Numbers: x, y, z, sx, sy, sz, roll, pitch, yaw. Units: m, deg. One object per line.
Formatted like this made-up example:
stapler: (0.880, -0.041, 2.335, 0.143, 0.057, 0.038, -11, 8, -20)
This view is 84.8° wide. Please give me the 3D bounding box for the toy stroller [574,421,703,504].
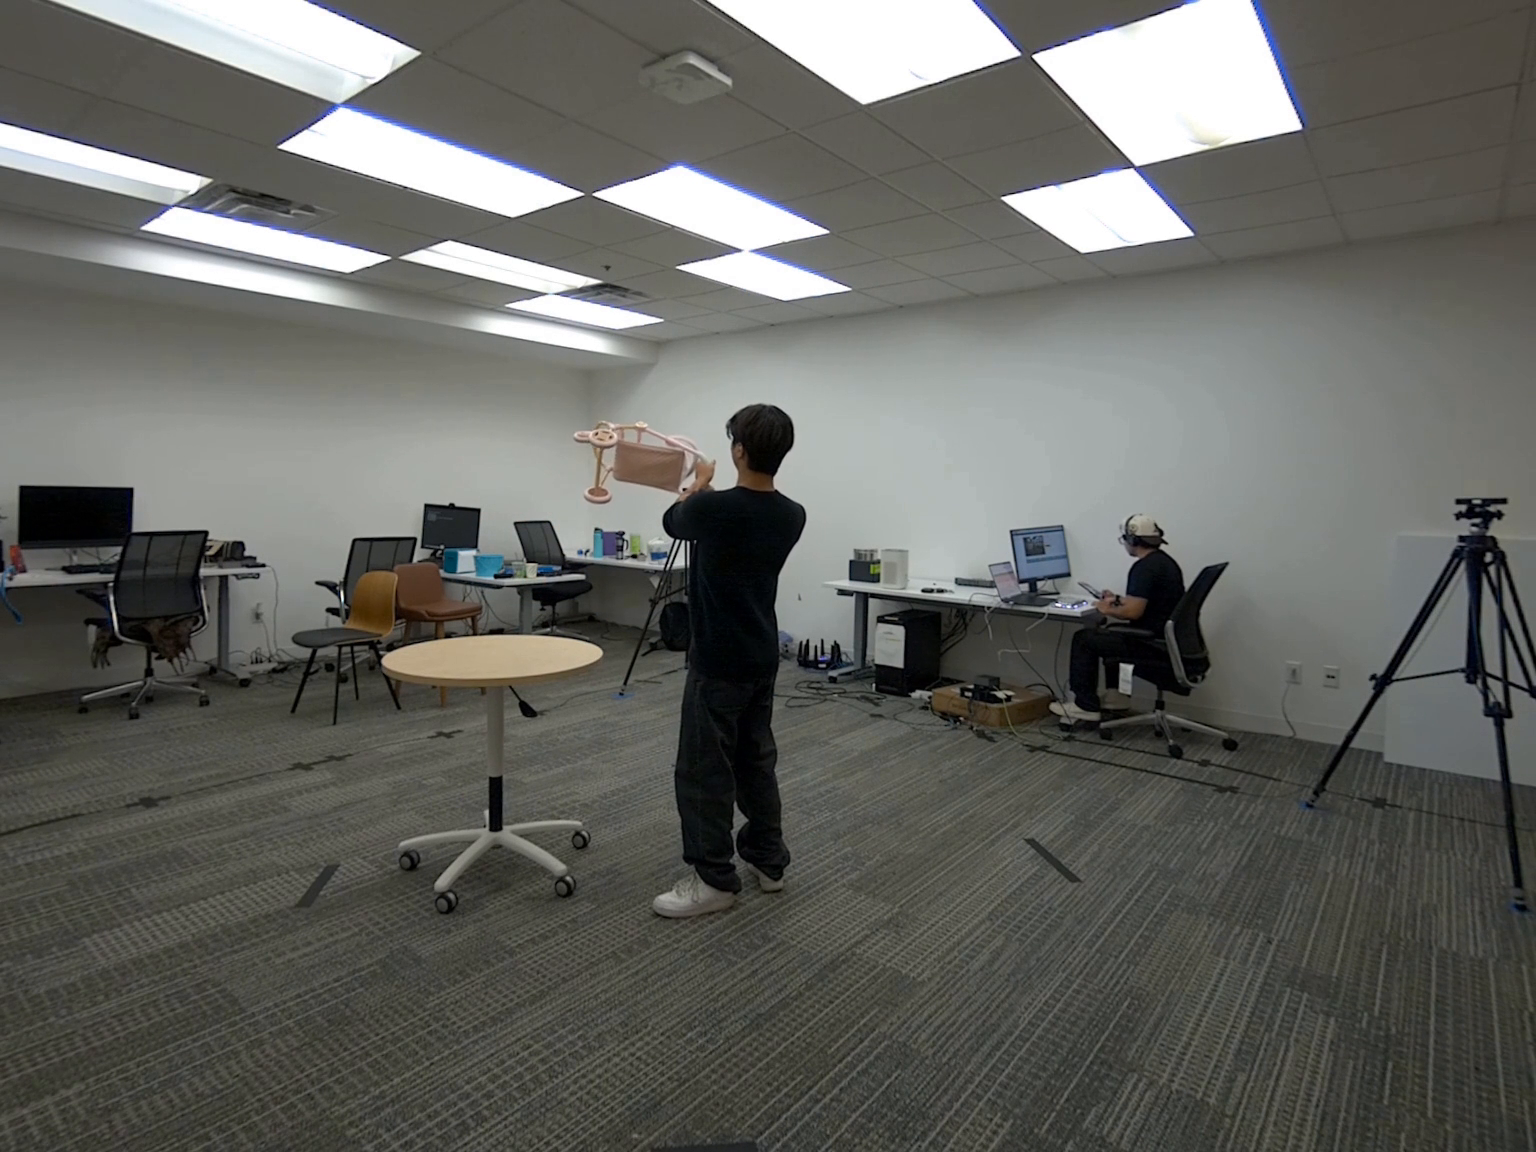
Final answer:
toy stroller: (-0.512, -0.464, 3.340, 0.530, 0.276, 0.351, 4, 30, -9)
